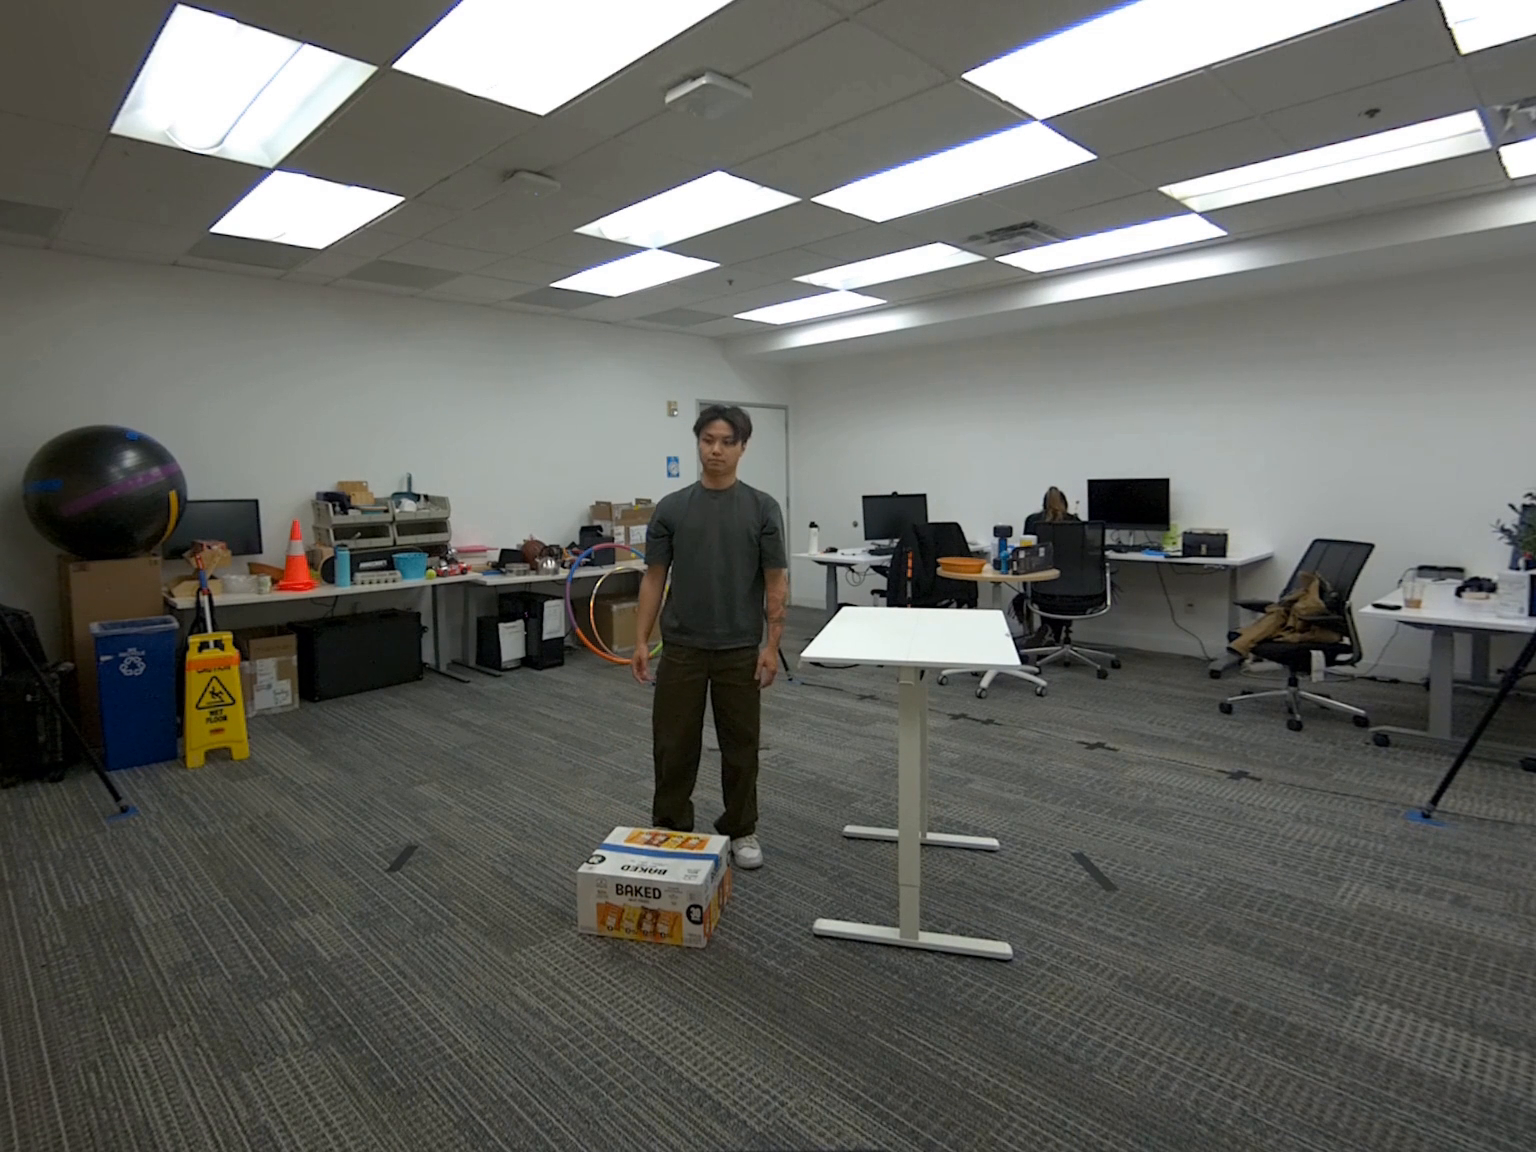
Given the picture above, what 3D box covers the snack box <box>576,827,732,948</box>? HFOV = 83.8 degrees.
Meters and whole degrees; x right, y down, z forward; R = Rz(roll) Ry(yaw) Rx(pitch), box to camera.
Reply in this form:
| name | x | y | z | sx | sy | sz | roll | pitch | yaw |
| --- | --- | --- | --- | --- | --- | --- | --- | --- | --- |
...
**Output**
| name | x | y | z | sx | sy | sz | roll | pitch | yaw |
| --- | --- | --- | --- | --- | --- | --- | --- | --- | --- |
| snack box | -0.363 | 0.986 | 2.748 | 0.410 | 0.205 | 0.338 | 0 | 6 | 12 |
